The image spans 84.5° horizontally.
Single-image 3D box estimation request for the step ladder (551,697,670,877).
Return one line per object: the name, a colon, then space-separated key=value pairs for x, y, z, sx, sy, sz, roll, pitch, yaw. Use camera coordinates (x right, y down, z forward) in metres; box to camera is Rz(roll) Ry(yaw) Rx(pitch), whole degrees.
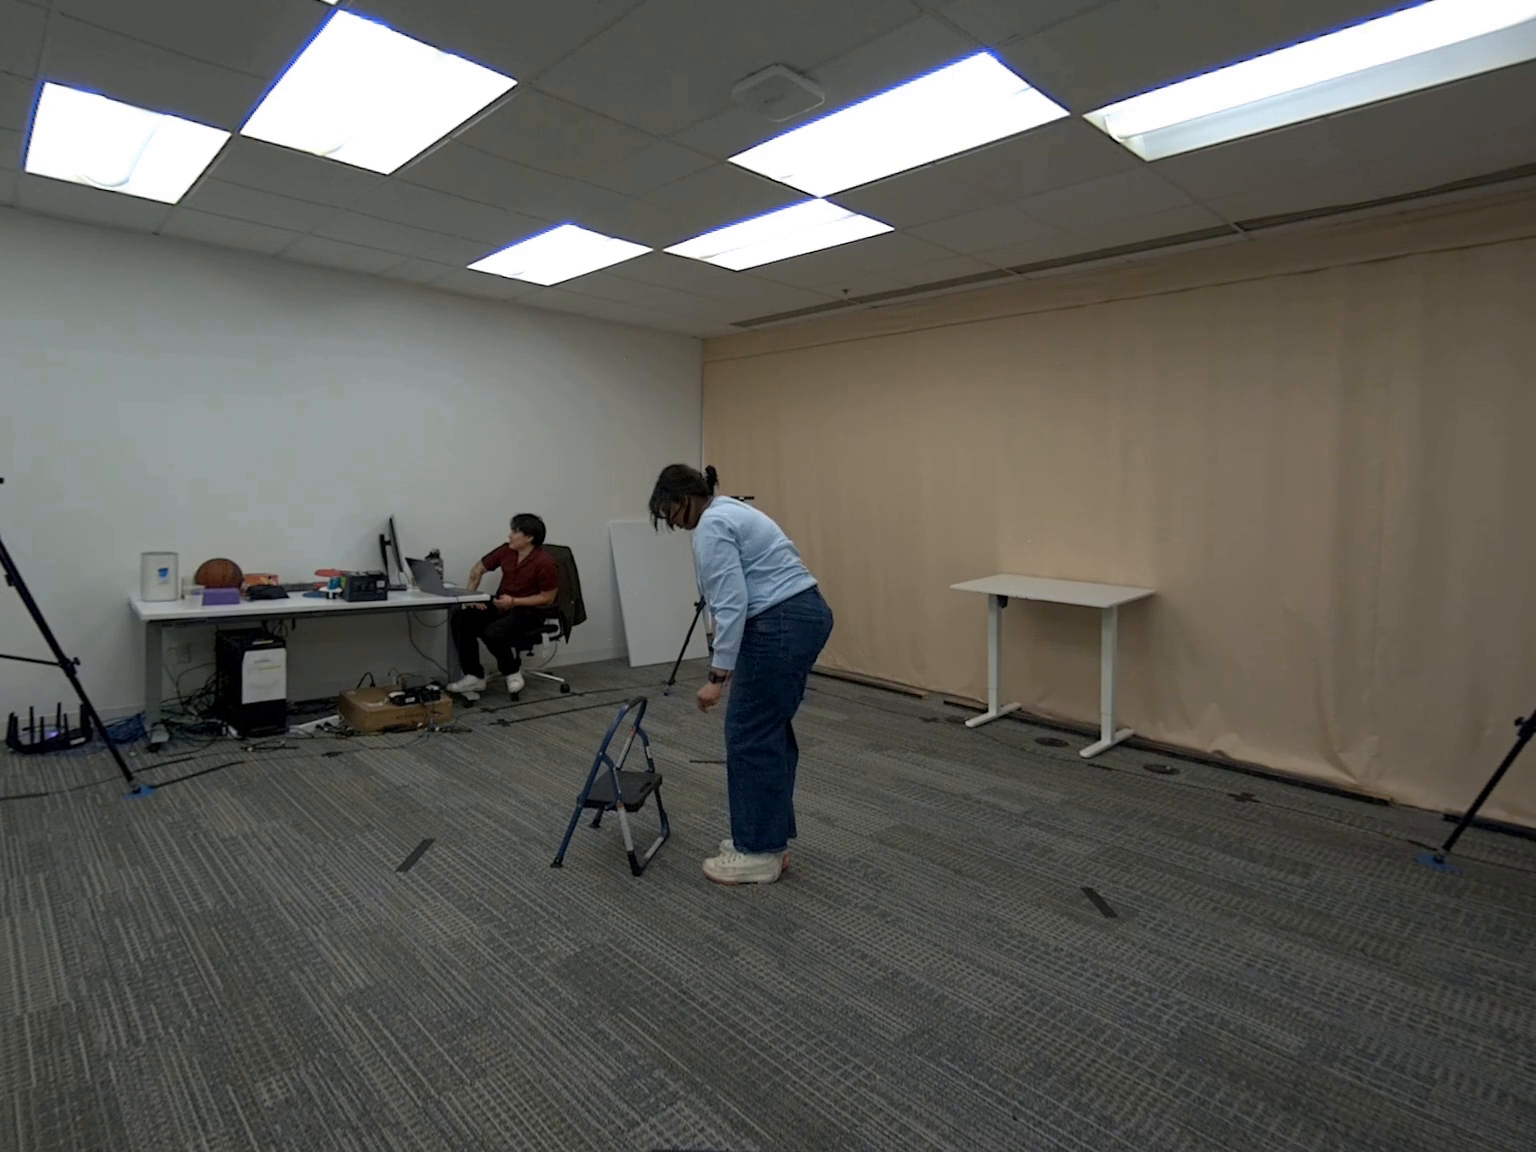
step ladder: x=-0.604 y=0.773 z=3.292 sx=0.353 sy=0.604 sz=0.427 roll=2 pitch=4 yaw=11
